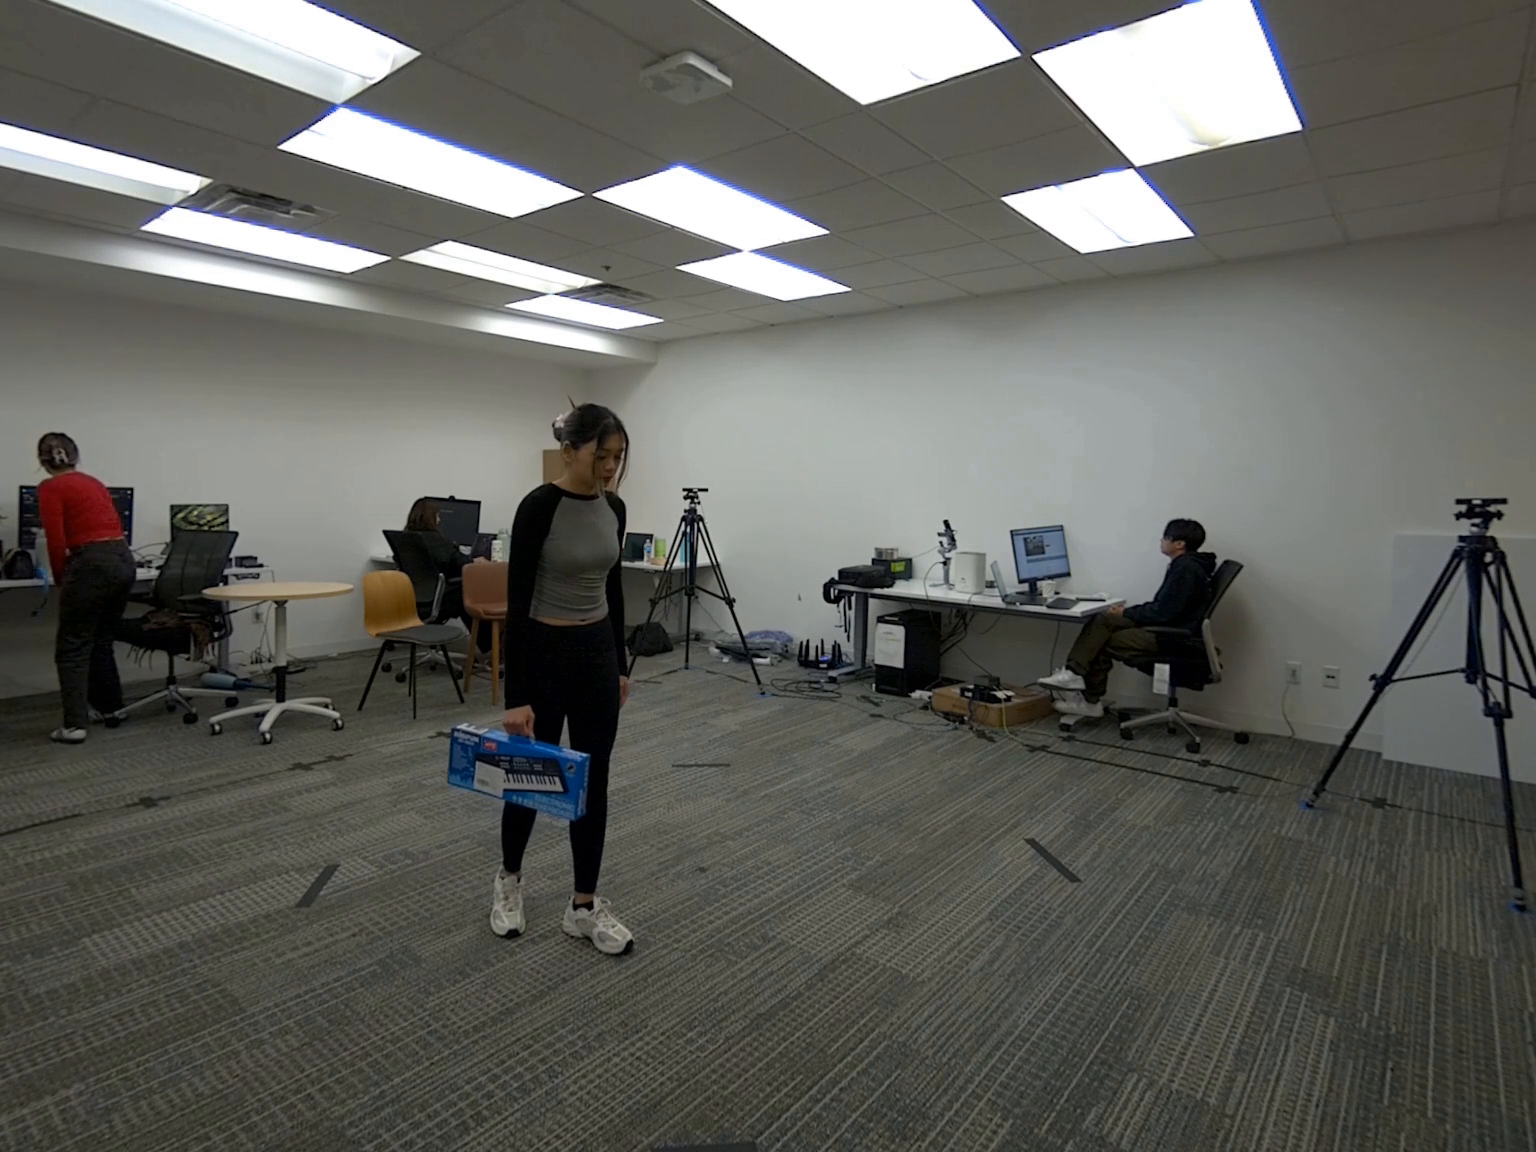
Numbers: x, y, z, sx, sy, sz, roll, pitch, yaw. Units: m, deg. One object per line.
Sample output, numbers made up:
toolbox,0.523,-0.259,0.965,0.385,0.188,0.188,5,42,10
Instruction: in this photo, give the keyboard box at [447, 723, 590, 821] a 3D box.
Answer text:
keyboard box,-0.723,0.548,2.429,0.447,0.175,0.058,9,6,21
